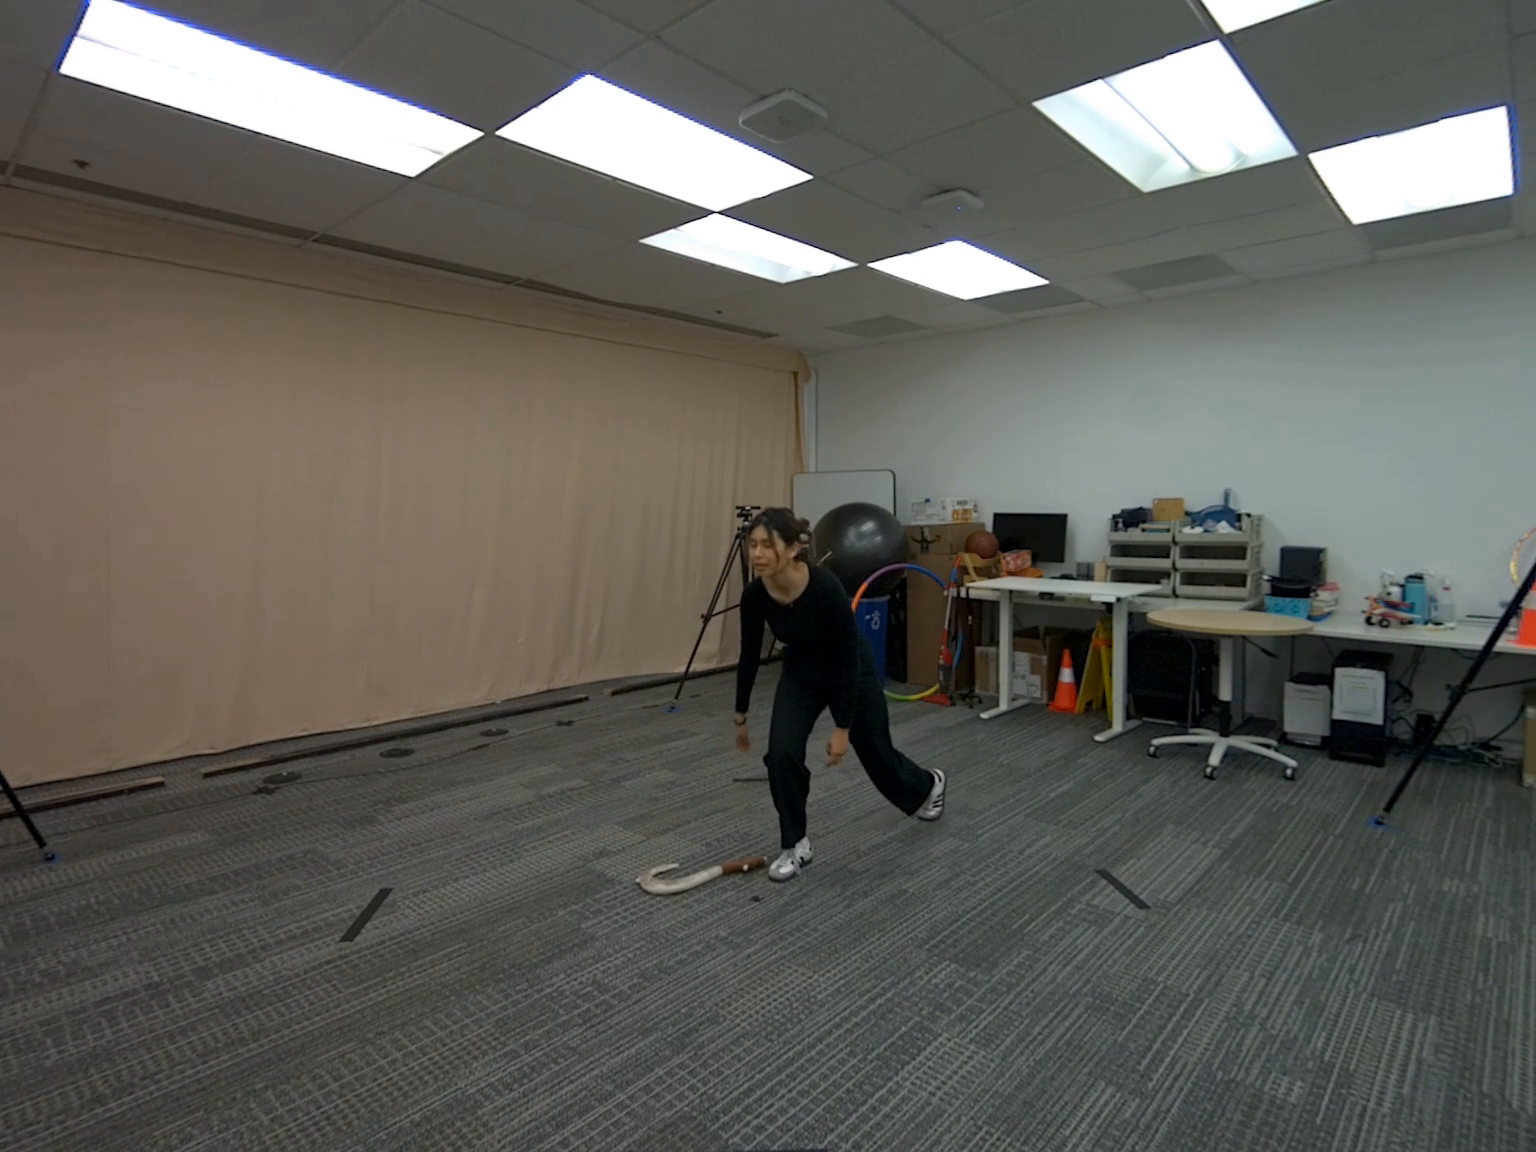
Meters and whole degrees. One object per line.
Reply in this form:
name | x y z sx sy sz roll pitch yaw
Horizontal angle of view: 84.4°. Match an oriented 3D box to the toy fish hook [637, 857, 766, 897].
toy fish hook | -0.246 1.108 3.180 0.493 0.048 0.231 -3 6 -28
